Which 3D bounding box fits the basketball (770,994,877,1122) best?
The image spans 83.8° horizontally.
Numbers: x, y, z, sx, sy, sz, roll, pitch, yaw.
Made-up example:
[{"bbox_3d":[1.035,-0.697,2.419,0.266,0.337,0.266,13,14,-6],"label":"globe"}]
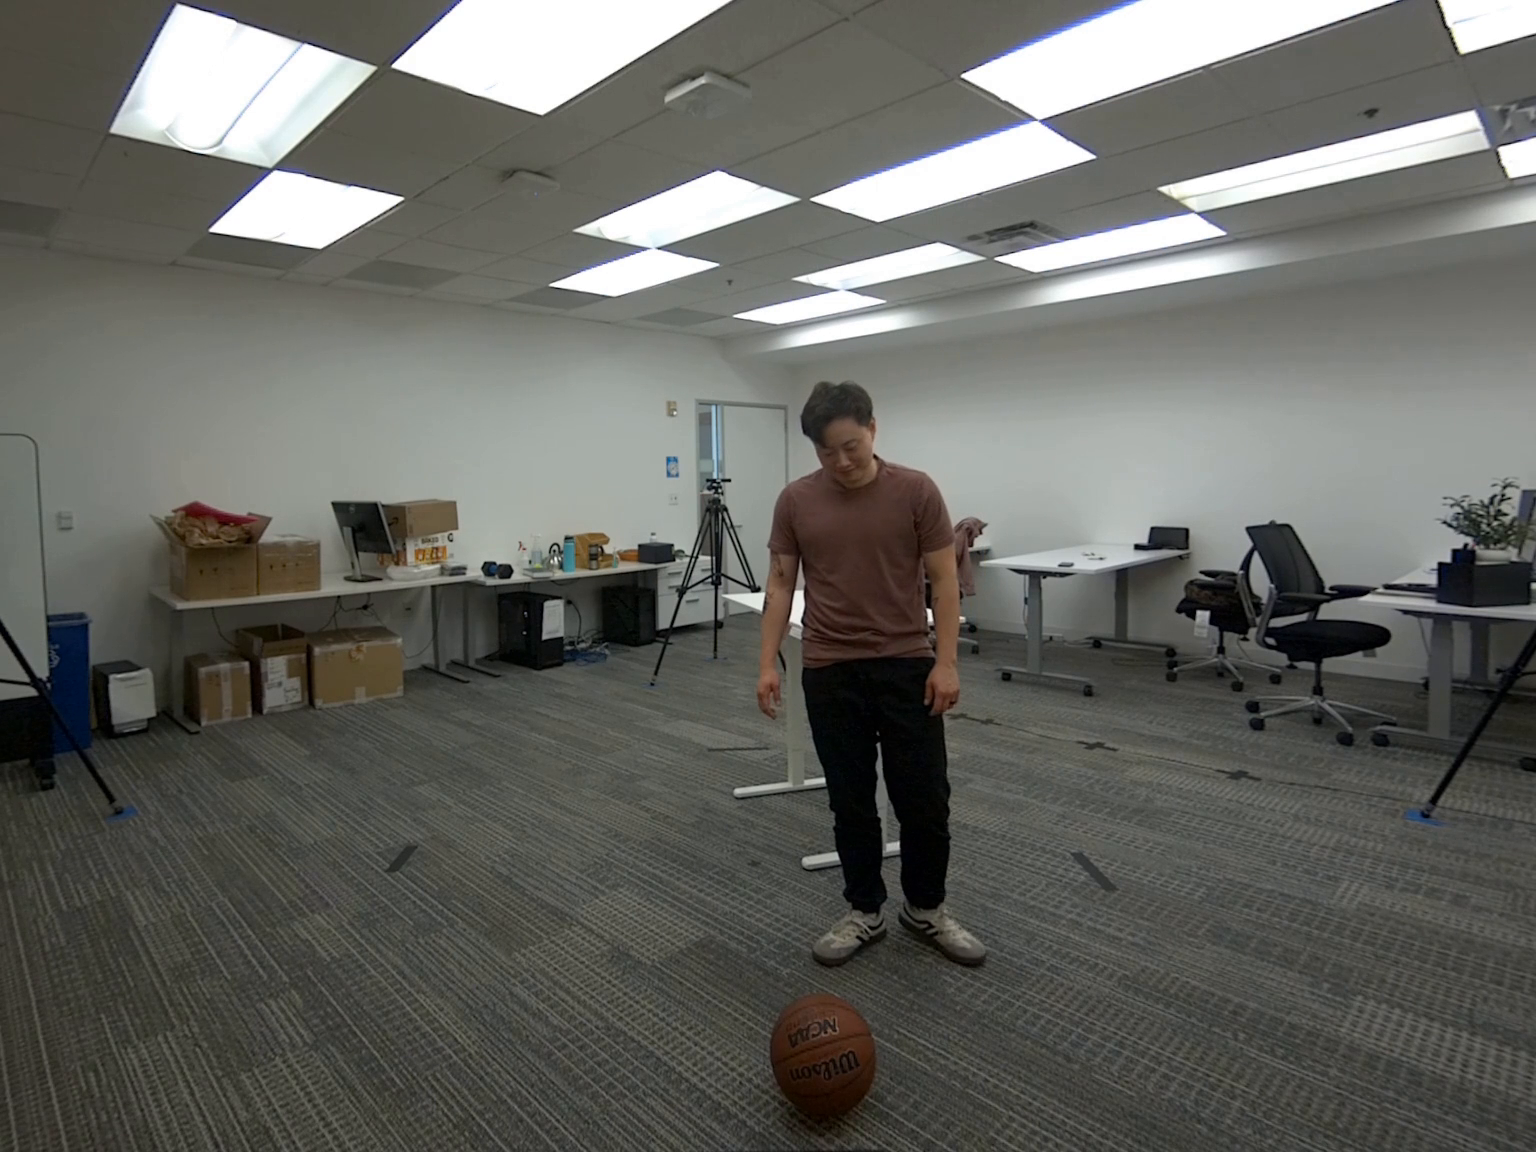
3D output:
[{"bbox_3d":[0.128,1.062,1.905,0.236,0.235,0.237,-1,5,-2],"label":"basketball"}]
